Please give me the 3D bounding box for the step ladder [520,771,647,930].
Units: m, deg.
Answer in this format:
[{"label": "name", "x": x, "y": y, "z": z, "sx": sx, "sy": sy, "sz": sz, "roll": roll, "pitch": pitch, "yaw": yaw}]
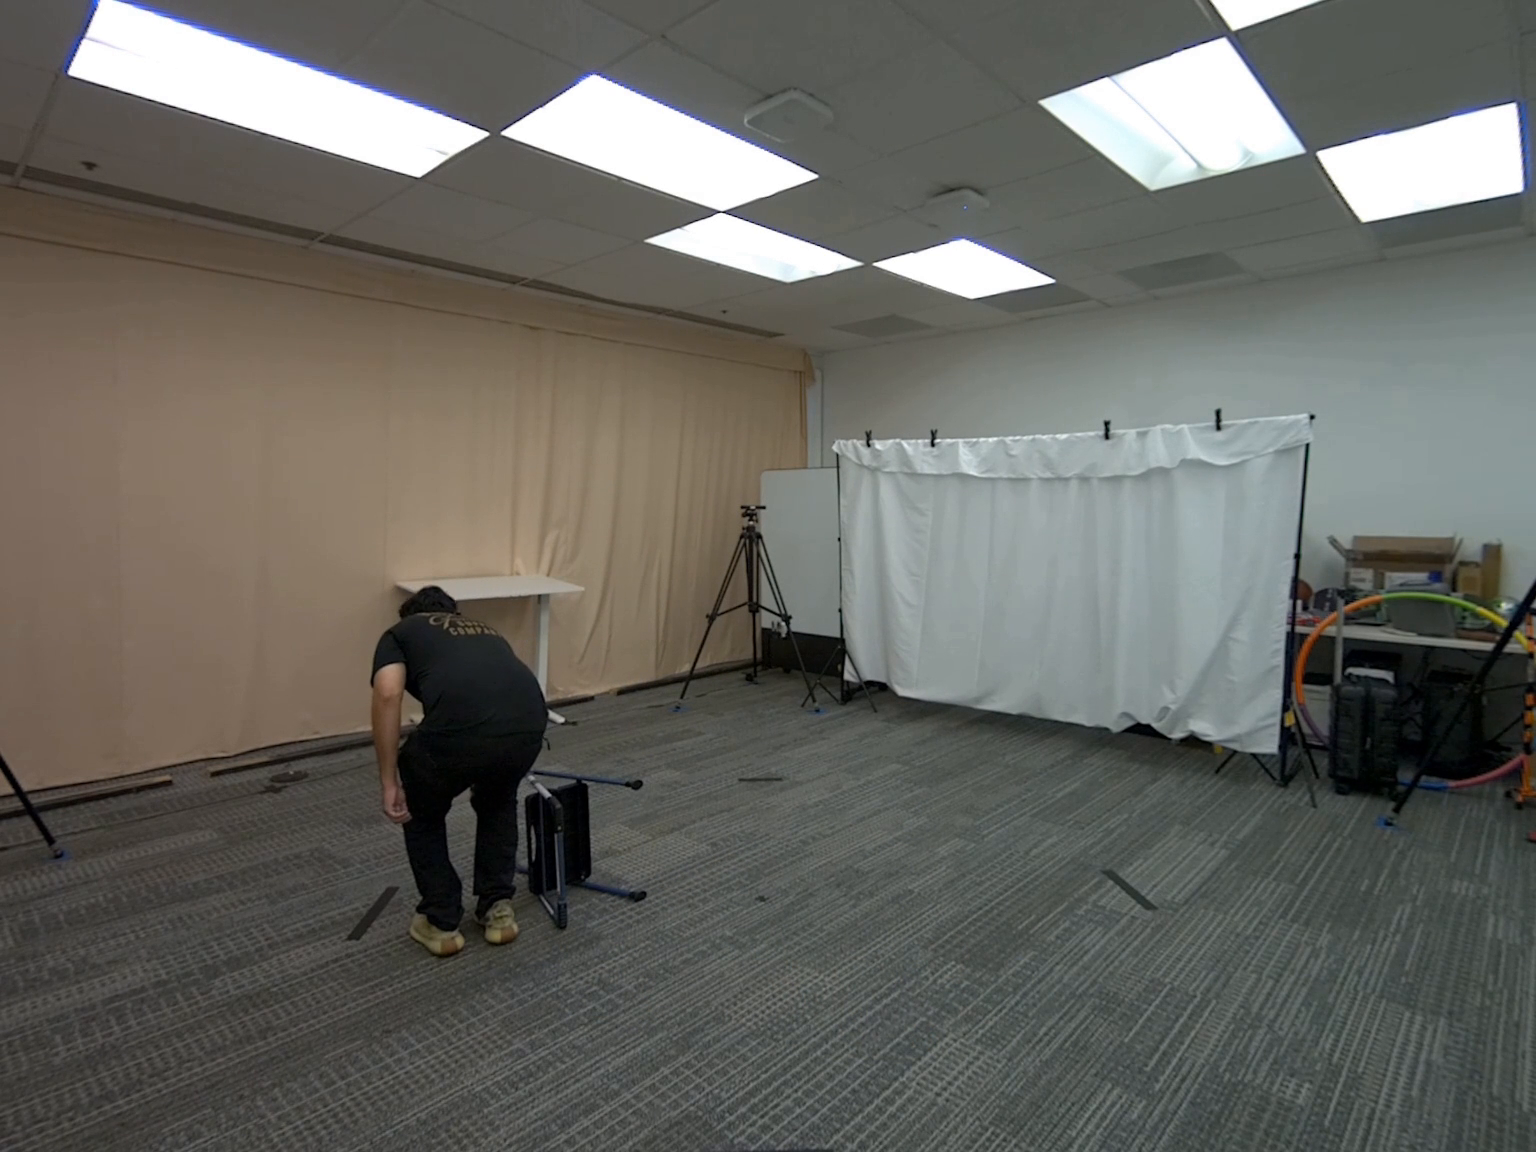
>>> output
[{"label": "step ladder", "x": -0.772, "y": 0.934, "z": 3.085, "sx": 0.338, "sy": 0.430, "sz": 0.625, "roll": -2, "pitch": 2, "yaw": -44}]
